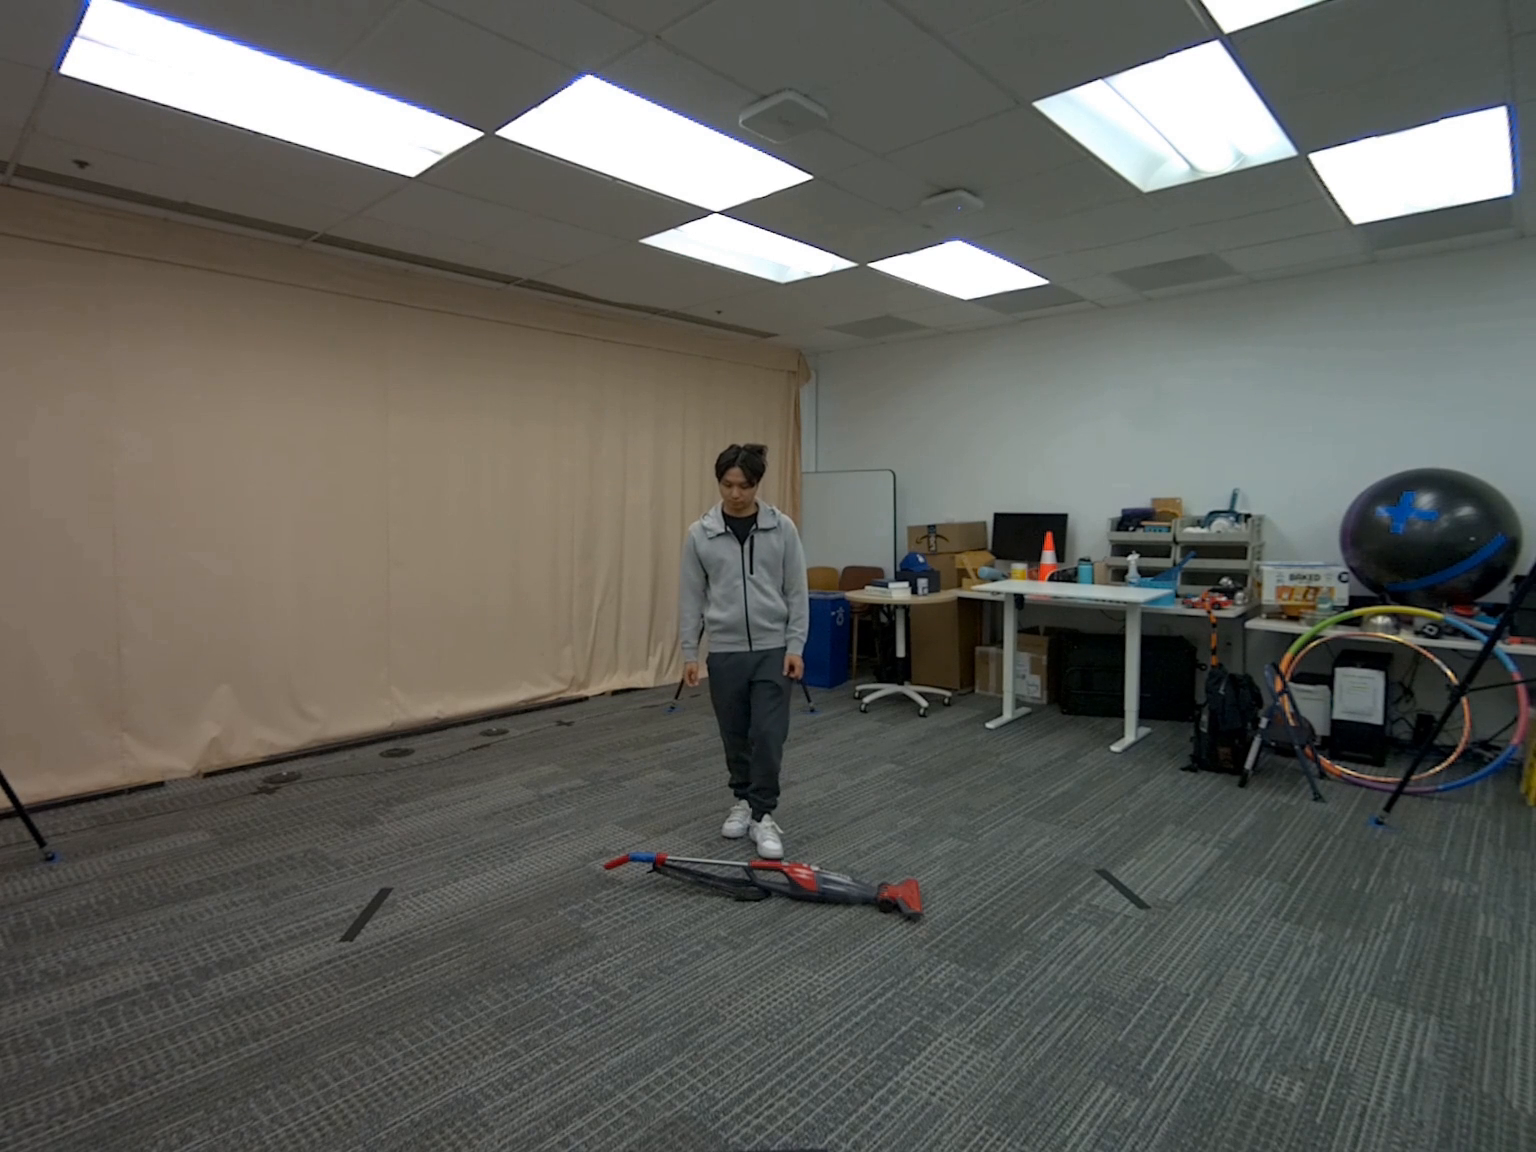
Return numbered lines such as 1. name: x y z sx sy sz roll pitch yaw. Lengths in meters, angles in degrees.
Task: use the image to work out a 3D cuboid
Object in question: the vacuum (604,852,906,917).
1. vacuum: -0.084 1.086 3.017 1.060 0.143 0.251 3 11 9
